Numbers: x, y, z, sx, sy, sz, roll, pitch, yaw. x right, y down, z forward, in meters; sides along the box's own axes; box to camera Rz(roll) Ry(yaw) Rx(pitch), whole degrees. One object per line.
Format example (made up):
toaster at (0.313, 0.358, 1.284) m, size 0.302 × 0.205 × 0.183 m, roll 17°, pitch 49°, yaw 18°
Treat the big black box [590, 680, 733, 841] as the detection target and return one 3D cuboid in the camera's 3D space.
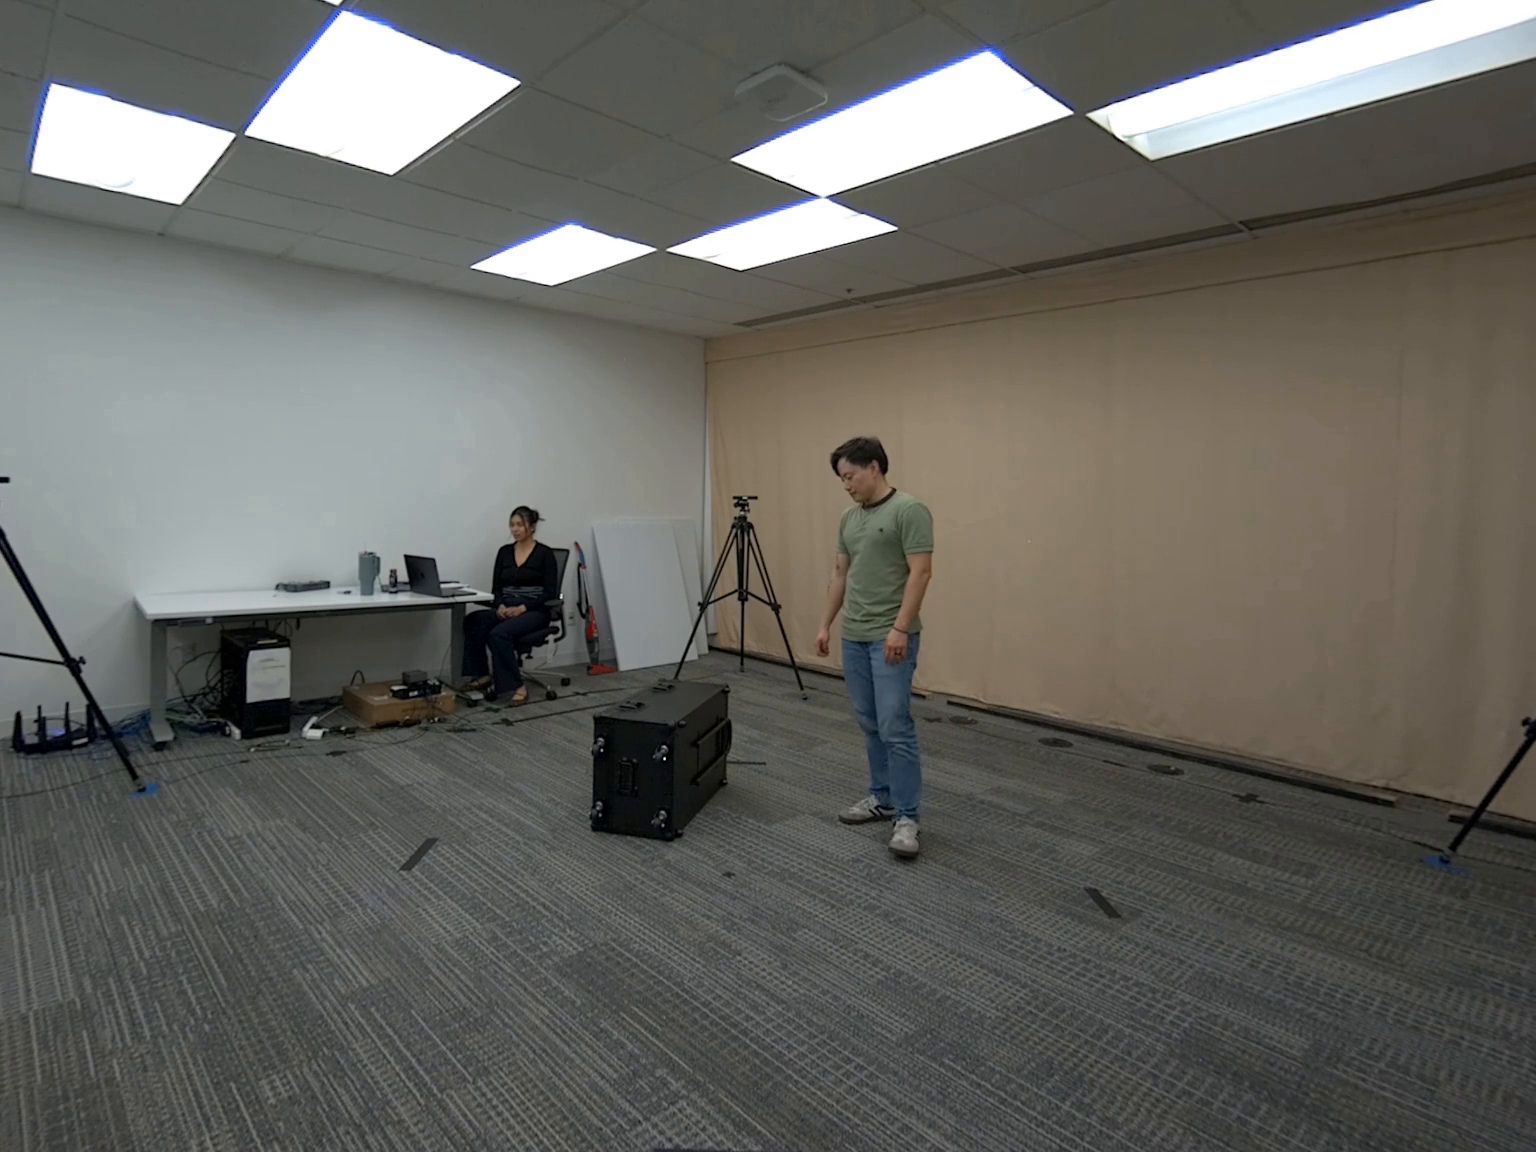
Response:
big black box at (-0.448, 0.783, 3.809) m, size 0.401 × 0.520 × 0.854 m, roll 3°, pitch 5°, yaw 13°
